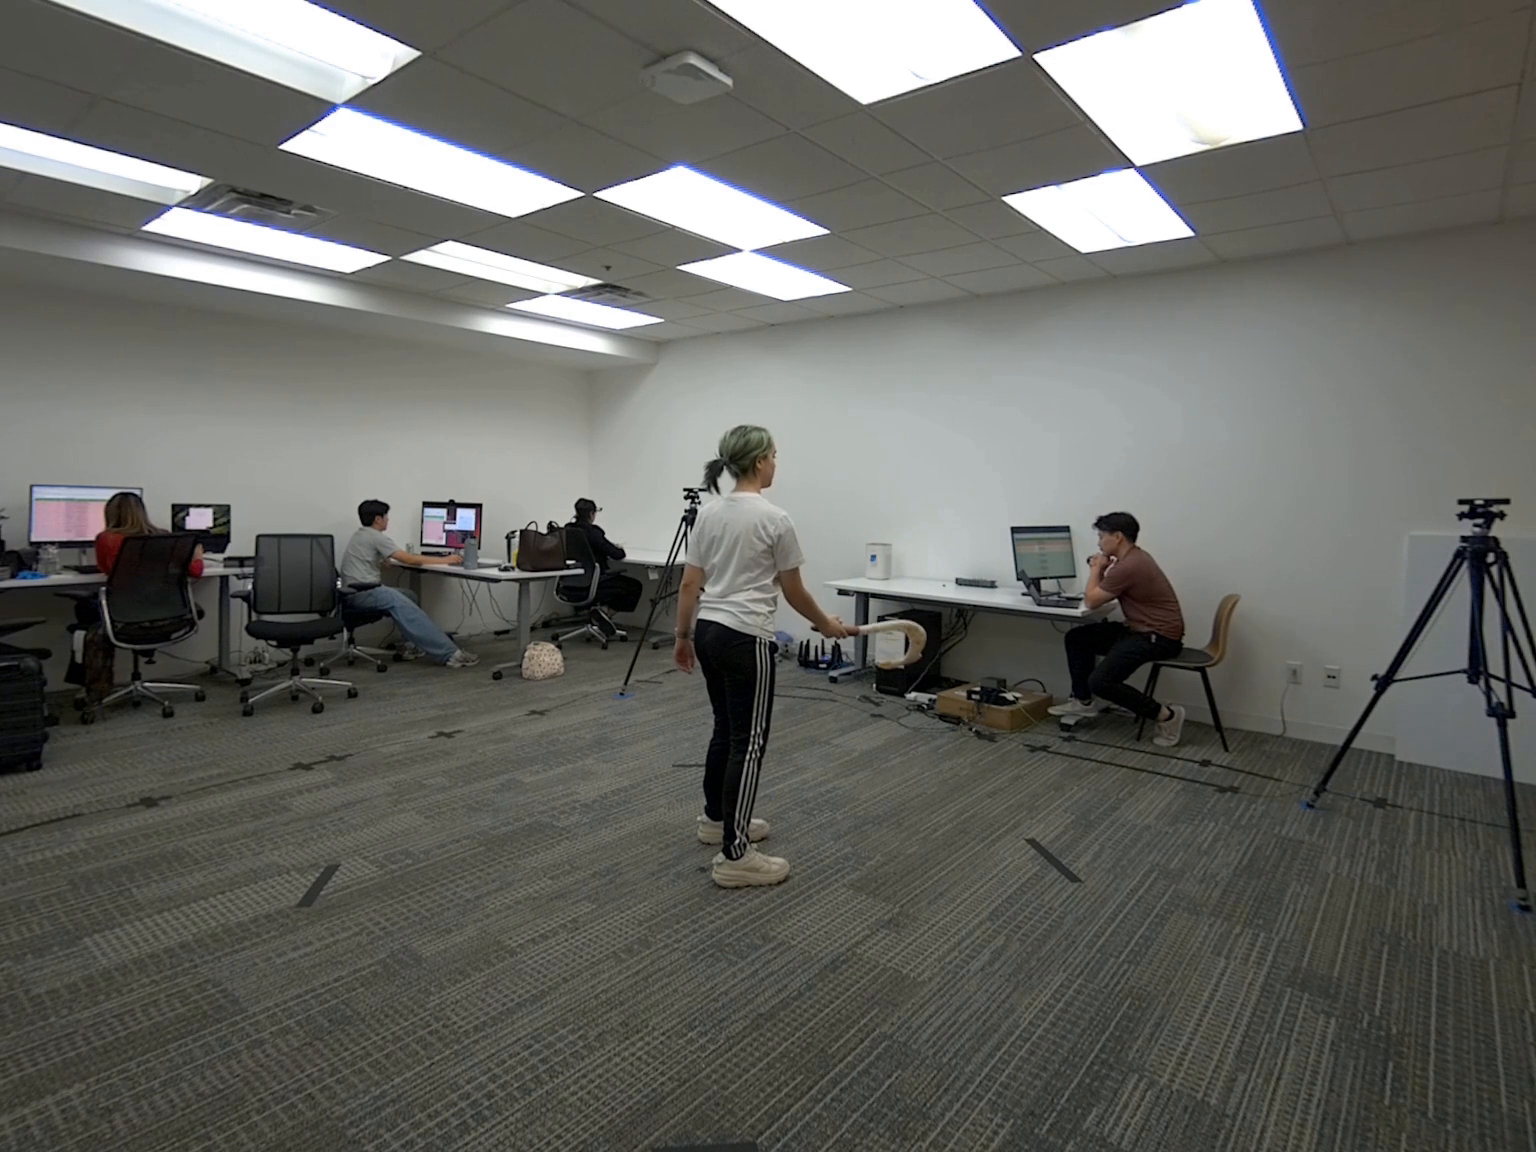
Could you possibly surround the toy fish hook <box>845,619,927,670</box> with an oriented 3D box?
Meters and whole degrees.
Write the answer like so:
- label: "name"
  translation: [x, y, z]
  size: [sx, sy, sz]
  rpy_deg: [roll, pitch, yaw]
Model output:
- label: "toy fish hook"
  translation: [0.393, 0.248, 3.449]
  size: [0.500, 0.222, 0.049]
  rpy_deg: [7, 15, -12]
